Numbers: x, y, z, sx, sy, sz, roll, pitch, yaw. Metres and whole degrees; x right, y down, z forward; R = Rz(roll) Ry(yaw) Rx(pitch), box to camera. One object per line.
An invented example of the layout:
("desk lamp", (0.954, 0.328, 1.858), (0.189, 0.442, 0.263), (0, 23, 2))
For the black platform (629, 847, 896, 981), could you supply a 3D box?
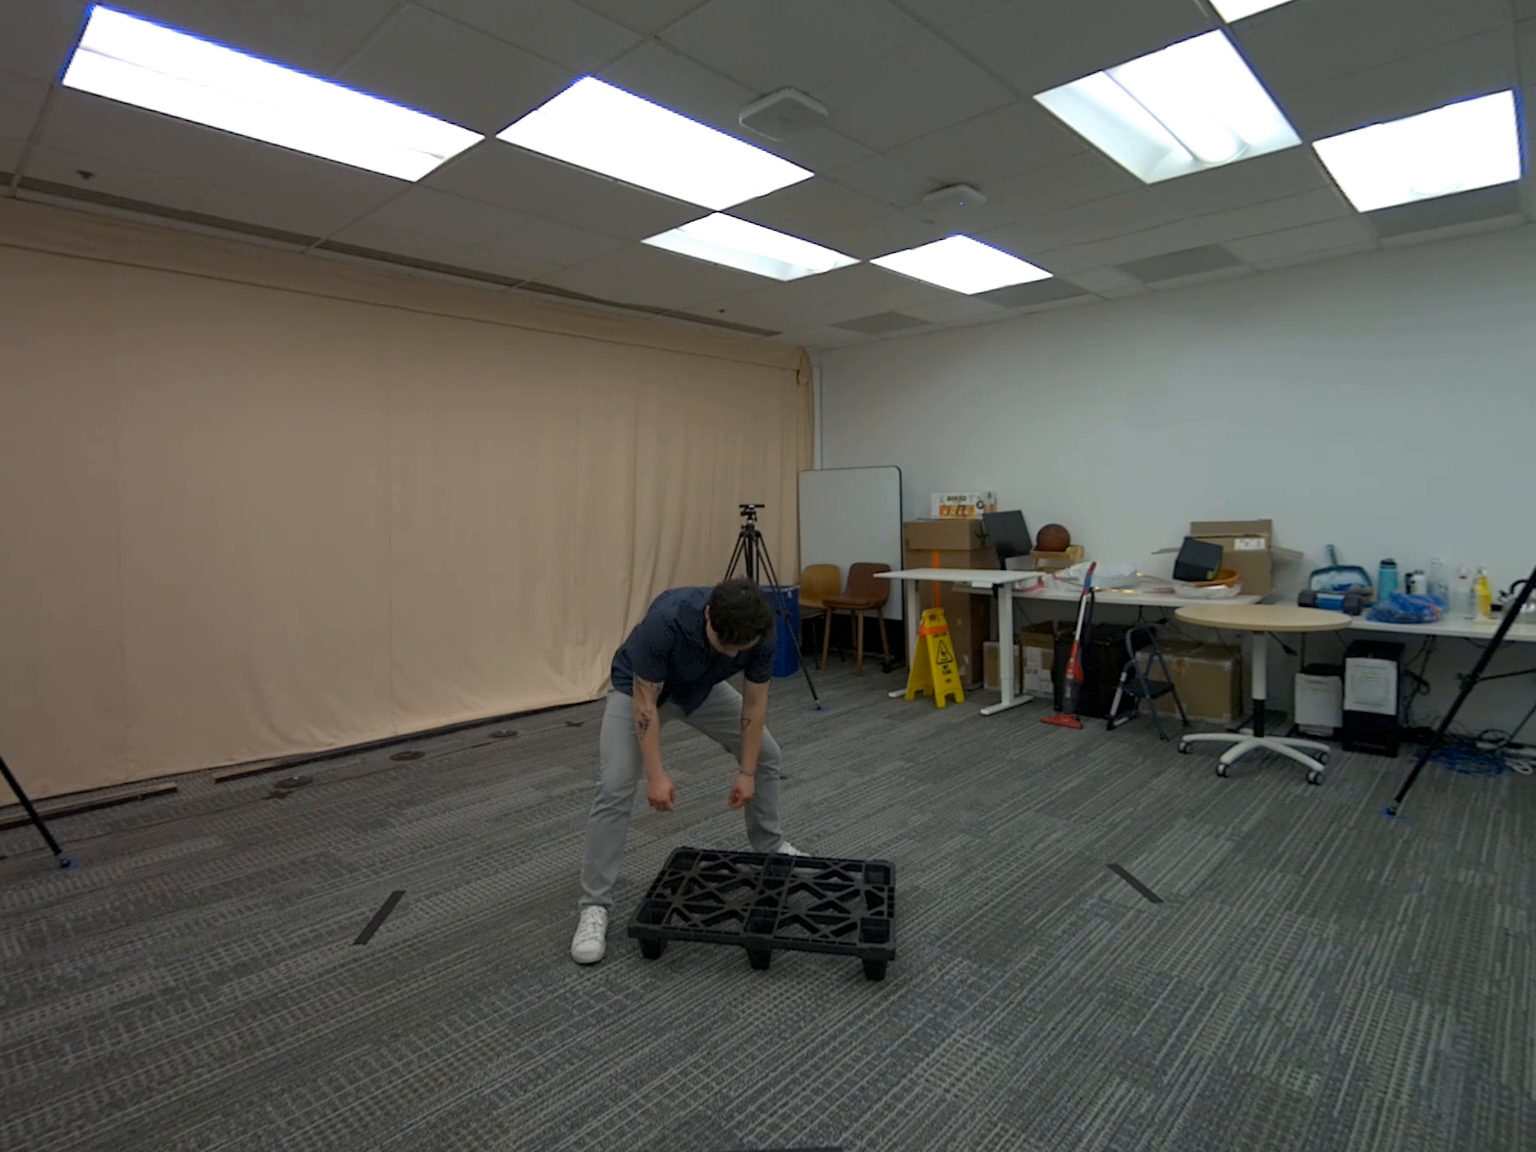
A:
("black platform", (0.012, 1.094, 2.749), (0.815, 0.143, 0.599), (0, 4, 10))
